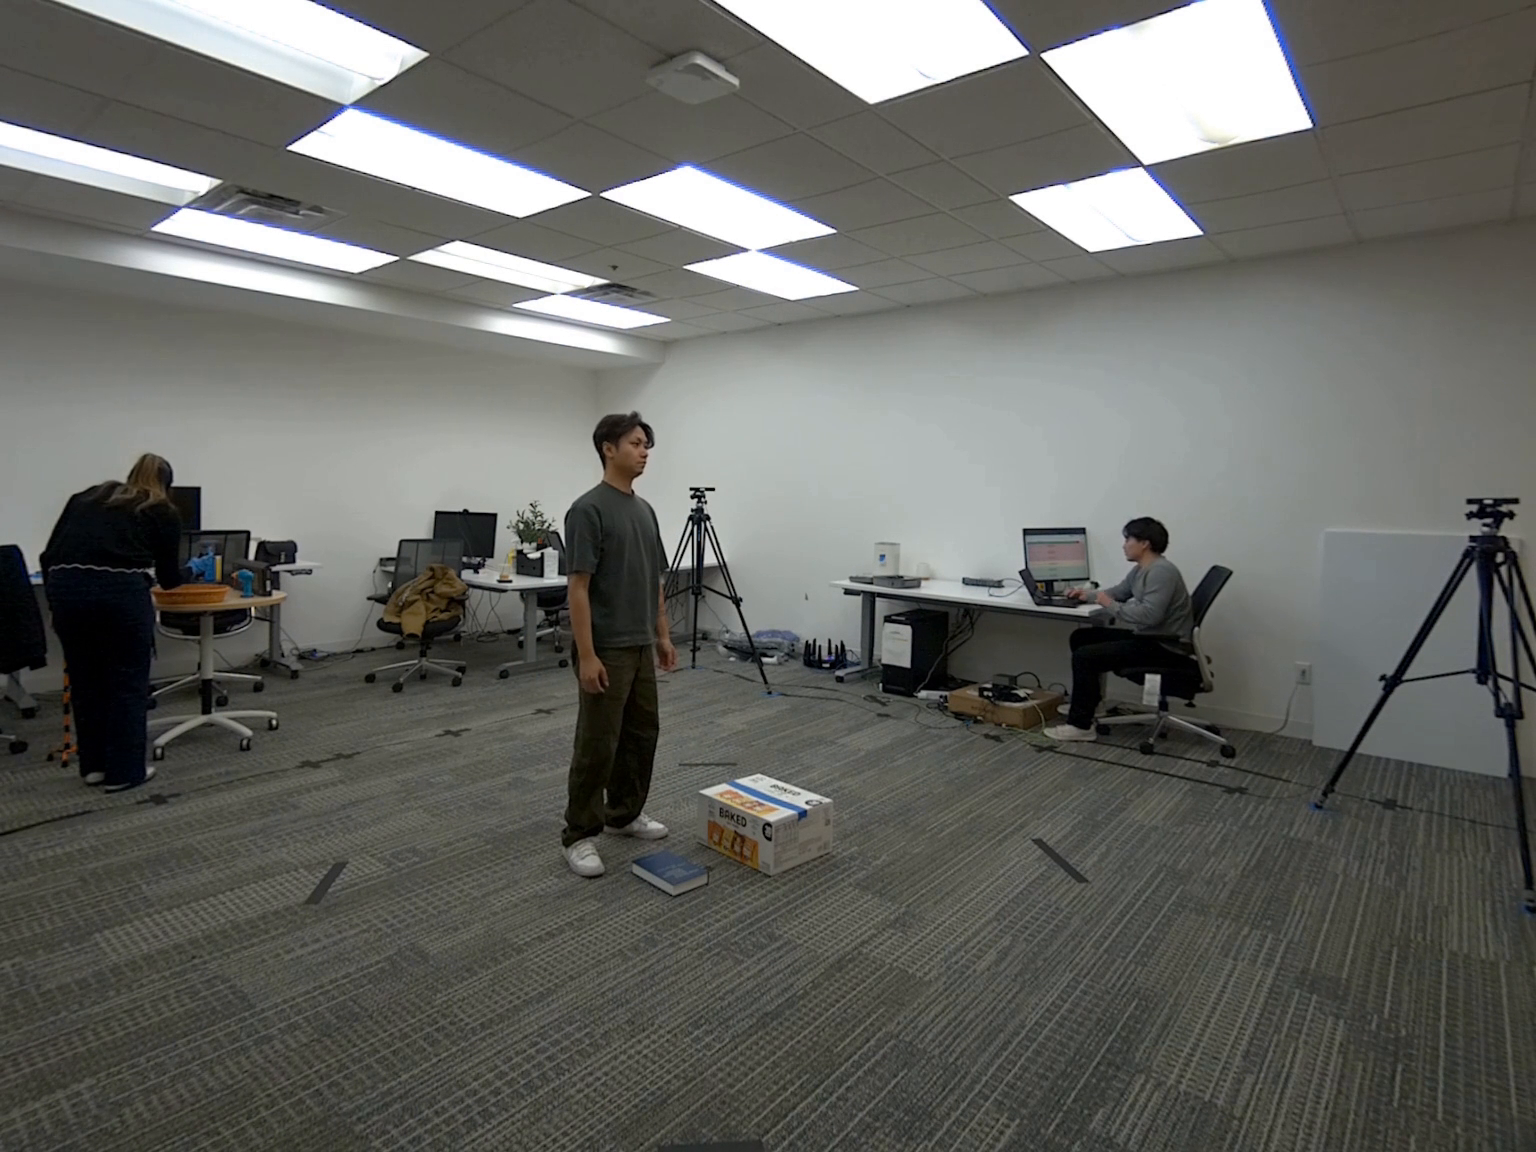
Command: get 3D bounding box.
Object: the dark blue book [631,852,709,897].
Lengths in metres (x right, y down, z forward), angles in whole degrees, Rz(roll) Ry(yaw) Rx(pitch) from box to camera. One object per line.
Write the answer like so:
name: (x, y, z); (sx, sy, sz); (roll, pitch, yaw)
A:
dark blue book: (-0.362, 1.053, 3.018); (0.158, 0.045, 0.253); (-4, 7, -44)
